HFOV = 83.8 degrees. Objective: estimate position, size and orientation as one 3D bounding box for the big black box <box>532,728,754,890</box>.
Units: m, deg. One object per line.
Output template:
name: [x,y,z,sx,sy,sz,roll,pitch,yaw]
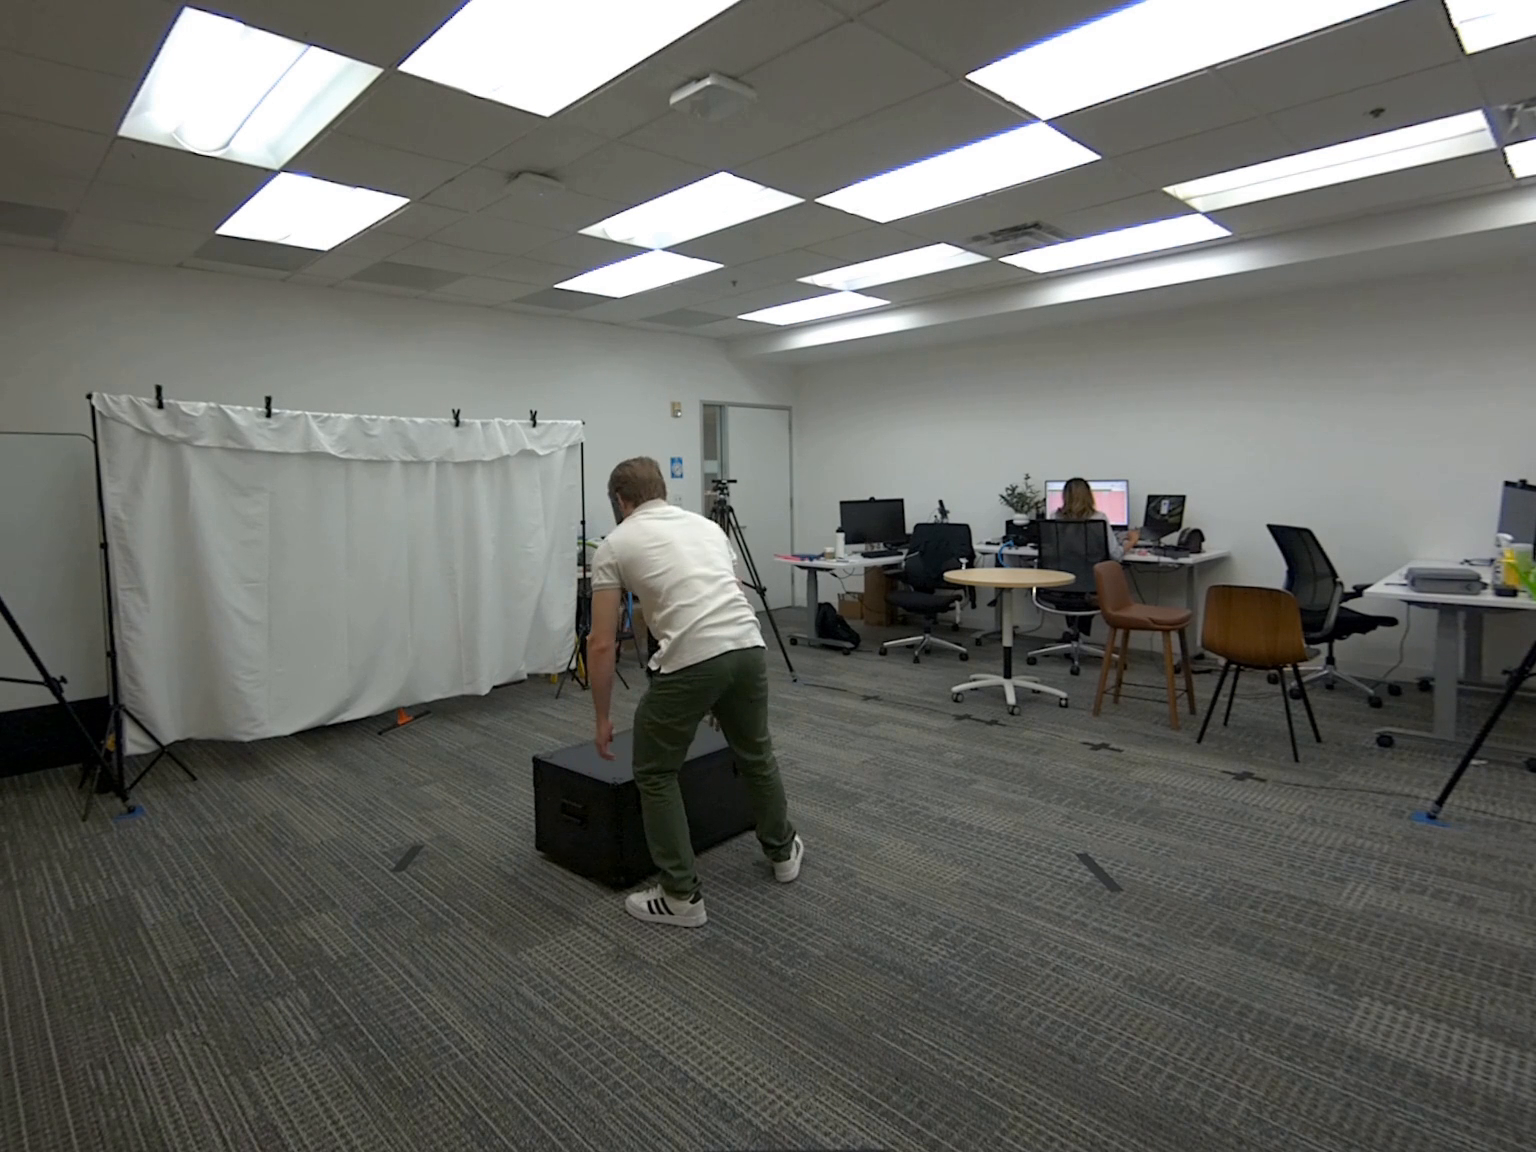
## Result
big black box: [-0.414,0.829,3.342,0.539,0.384,0.846,2,6,41]
